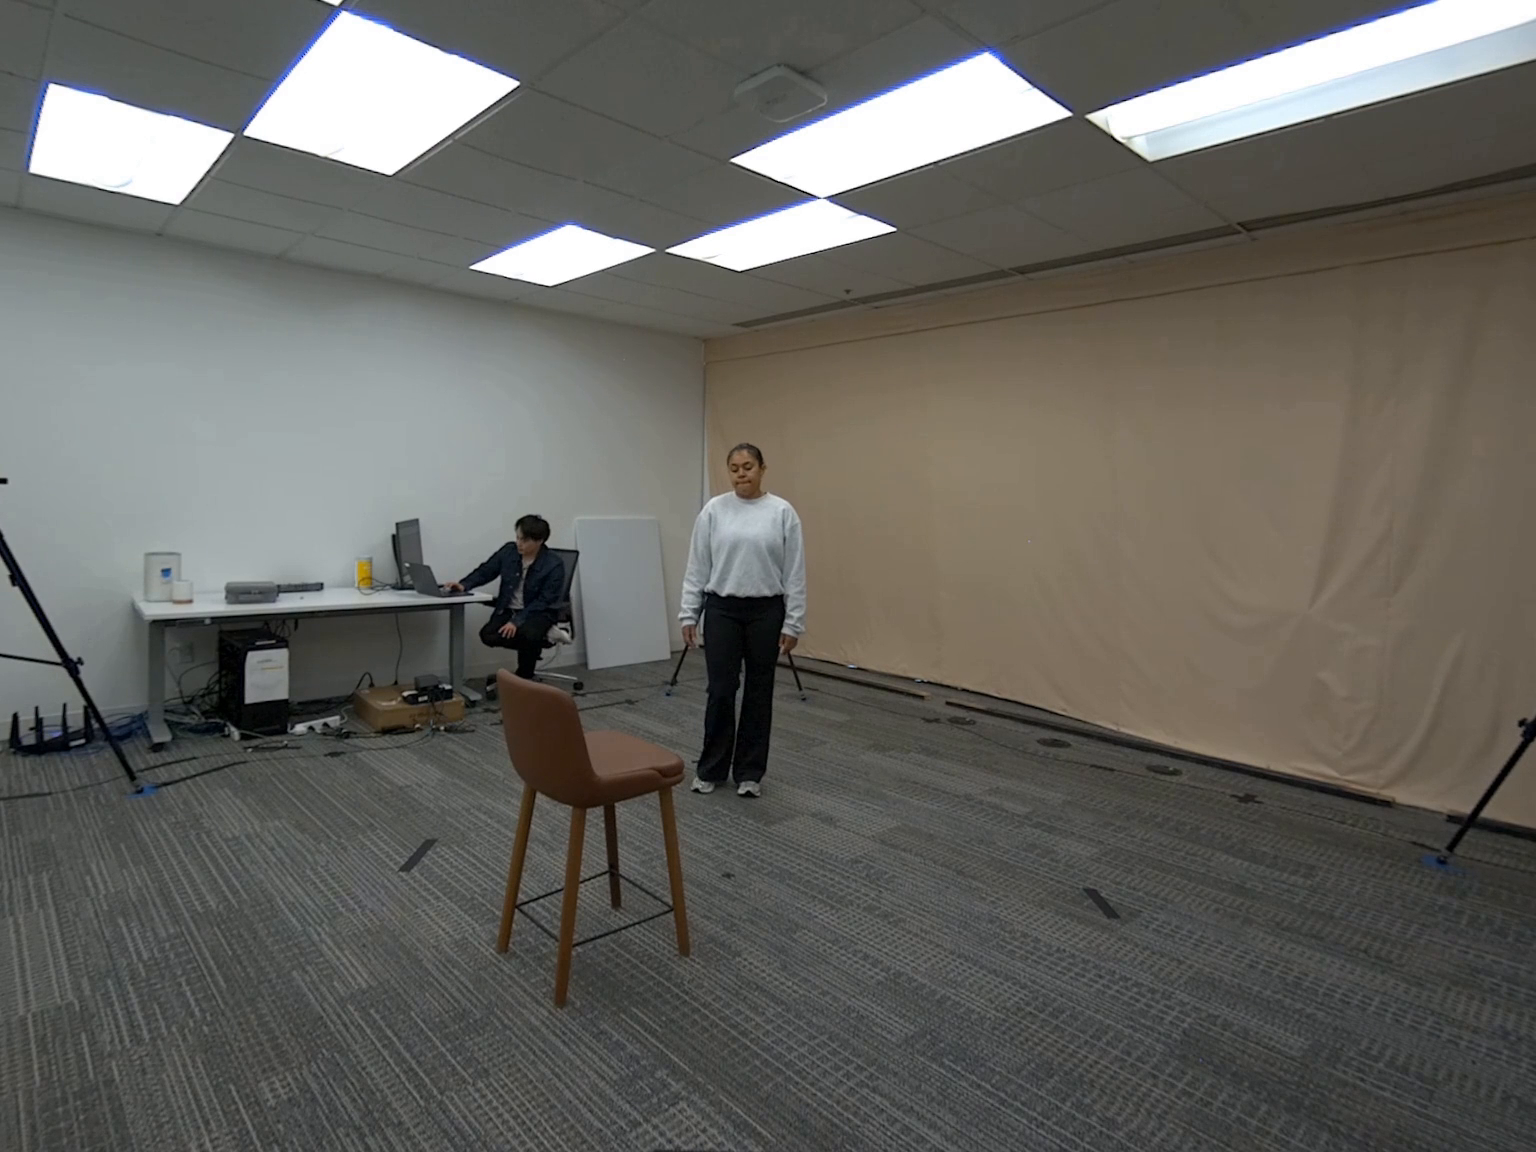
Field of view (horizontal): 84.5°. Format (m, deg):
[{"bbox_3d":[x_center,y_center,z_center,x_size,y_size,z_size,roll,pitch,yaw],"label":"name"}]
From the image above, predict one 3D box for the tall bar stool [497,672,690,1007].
[{"bbox_3d":[-0.539,0.714,2.539,0.457,0.887,0.468,-5,6,-42],"label":"tall bar stool"}]
